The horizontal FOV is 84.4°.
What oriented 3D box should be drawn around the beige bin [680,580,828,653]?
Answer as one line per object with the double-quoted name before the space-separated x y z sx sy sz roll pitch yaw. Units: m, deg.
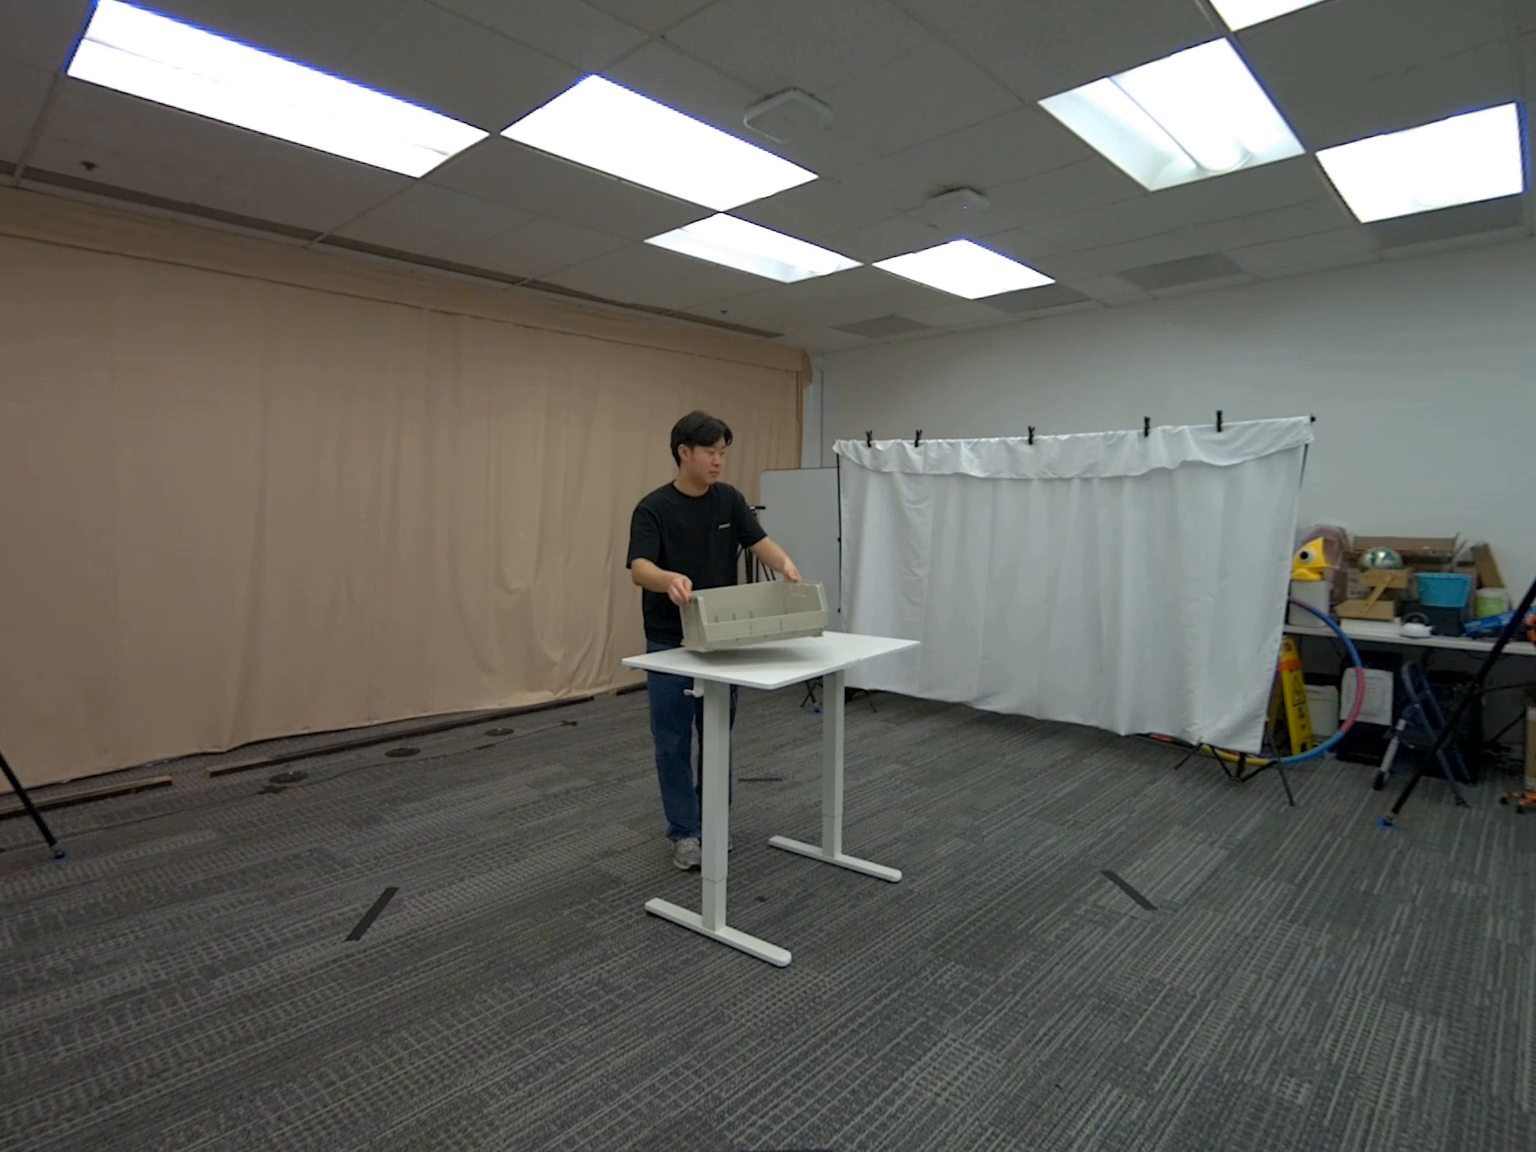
"beige bin" -0.062 0.129 2.829 0.416 0.189 0.383 -6 2 -16
